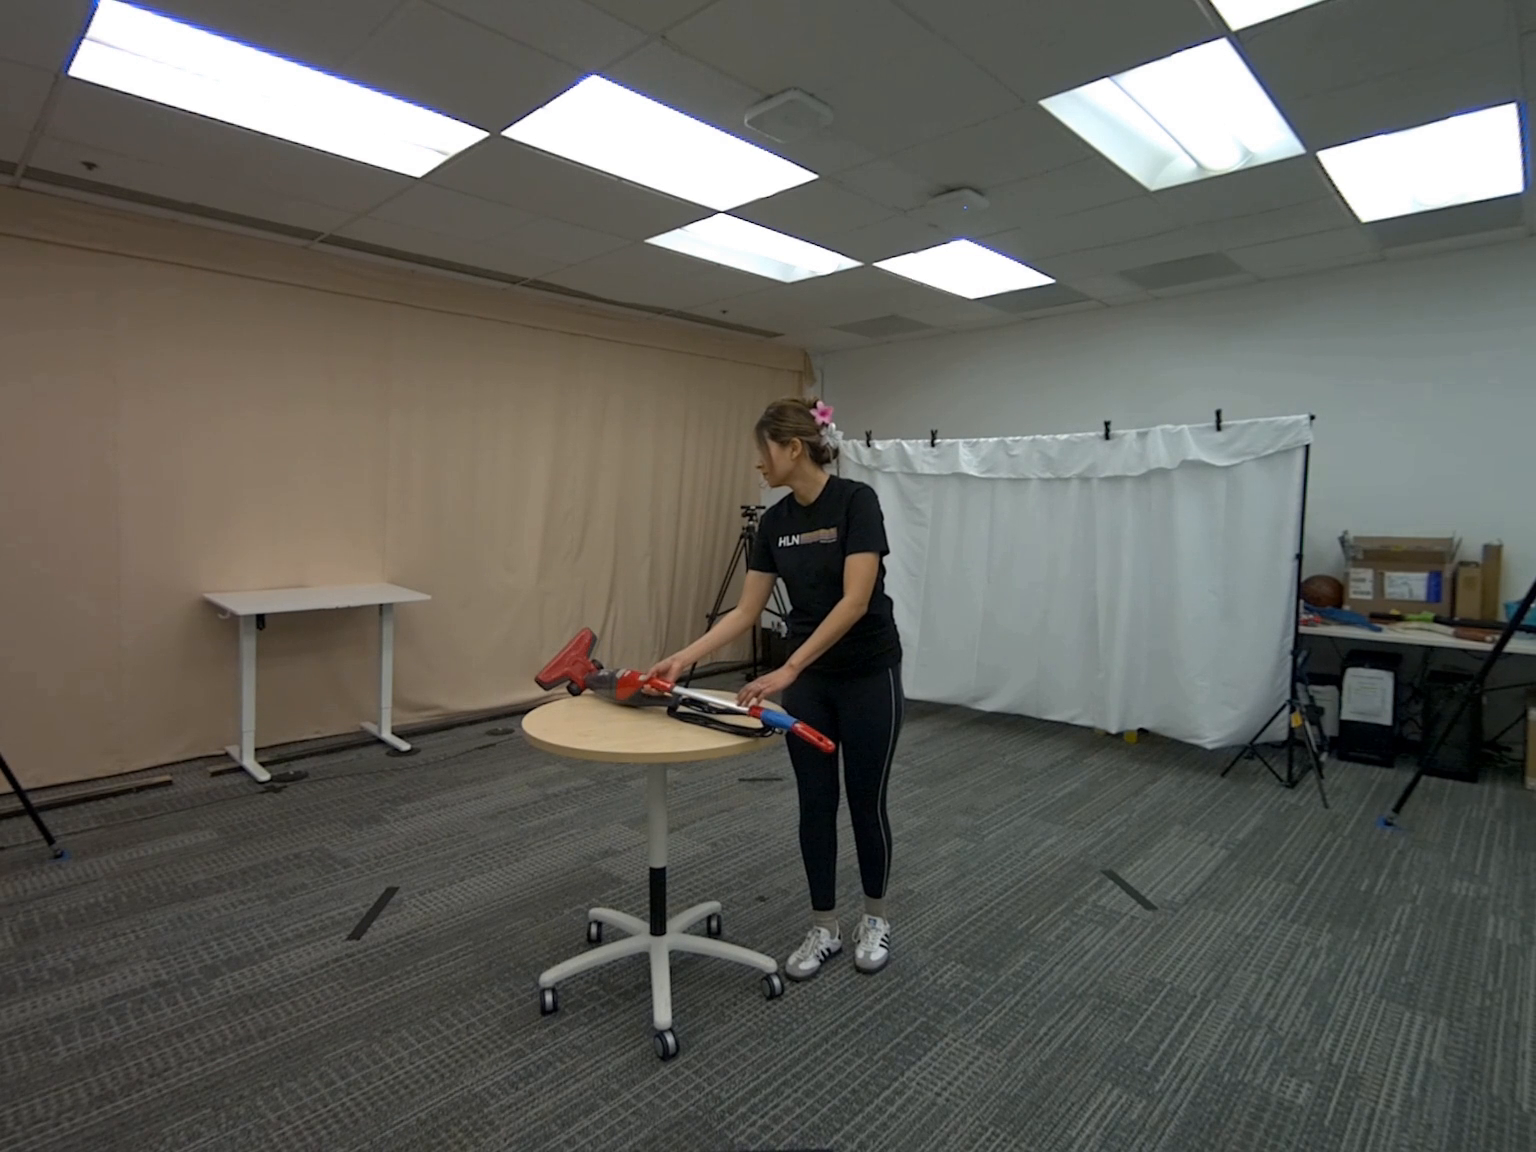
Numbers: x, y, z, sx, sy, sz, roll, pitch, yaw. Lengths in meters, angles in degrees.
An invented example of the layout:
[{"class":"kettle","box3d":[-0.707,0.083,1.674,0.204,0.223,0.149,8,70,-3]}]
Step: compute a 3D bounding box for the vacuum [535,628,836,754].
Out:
[{"class":"vacuum","box3d":[-0.256,0.365,2.405,1.086,0.140,0.251,9,47,43]}]
